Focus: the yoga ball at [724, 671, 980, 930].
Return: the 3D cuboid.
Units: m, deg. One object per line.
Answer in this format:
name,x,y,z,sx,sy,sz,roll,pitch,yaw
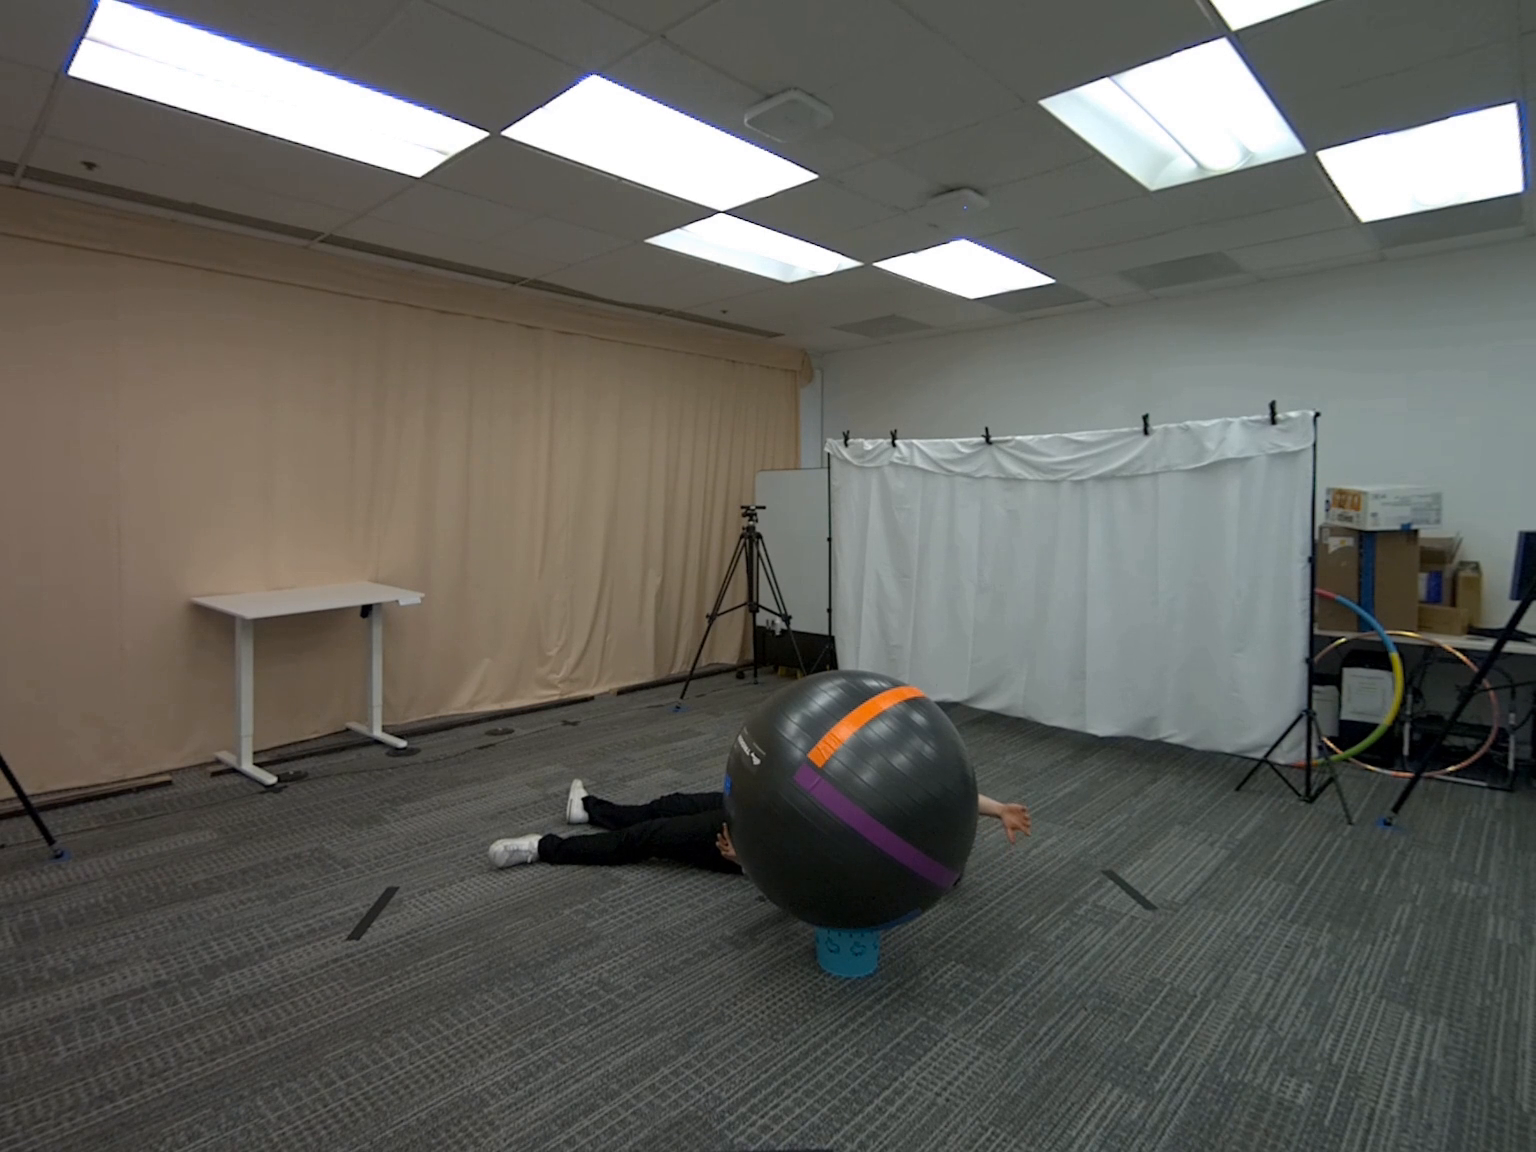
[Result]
yoga ball,0.244,0.669,2.548,0.757,0.756,0.760,0,4,-2
